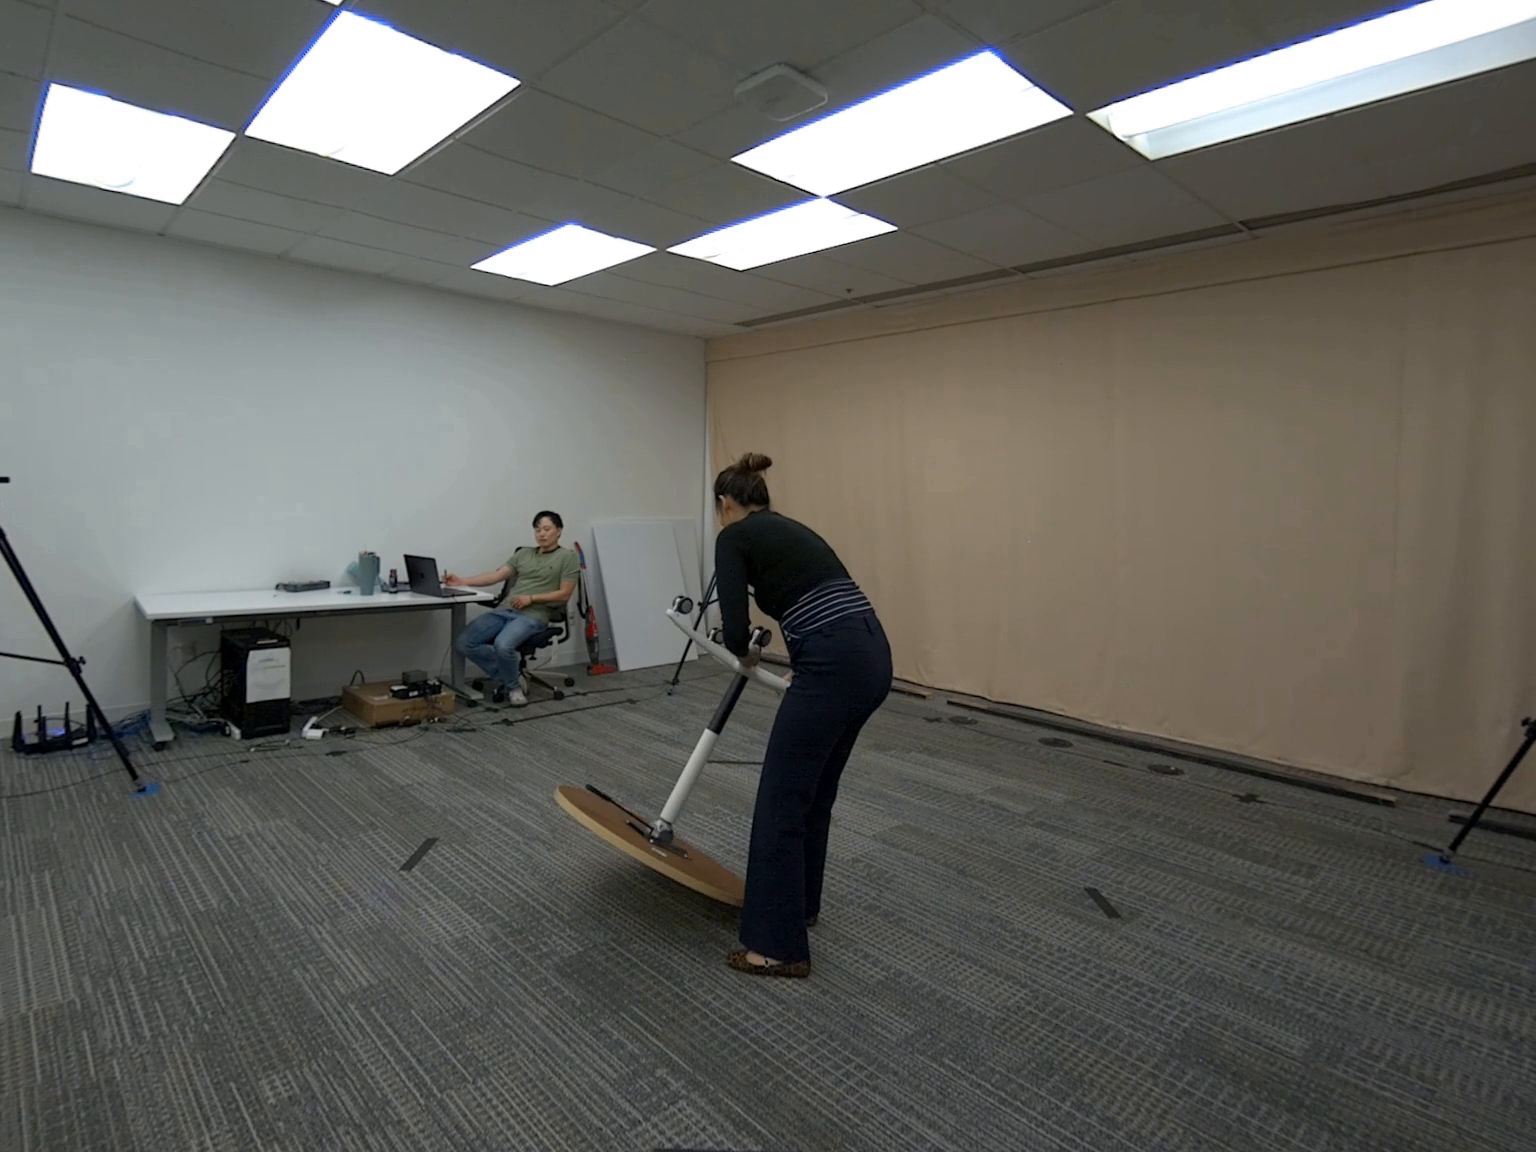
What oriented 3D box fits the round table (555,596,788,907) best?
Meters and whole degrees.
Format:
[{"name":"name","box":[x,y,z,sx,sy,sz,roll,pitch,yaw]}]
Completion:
[{"name":"round table","box":[-0.215,0.579,2.948,0.768,0.796,0.757,27,-11,4]}]
